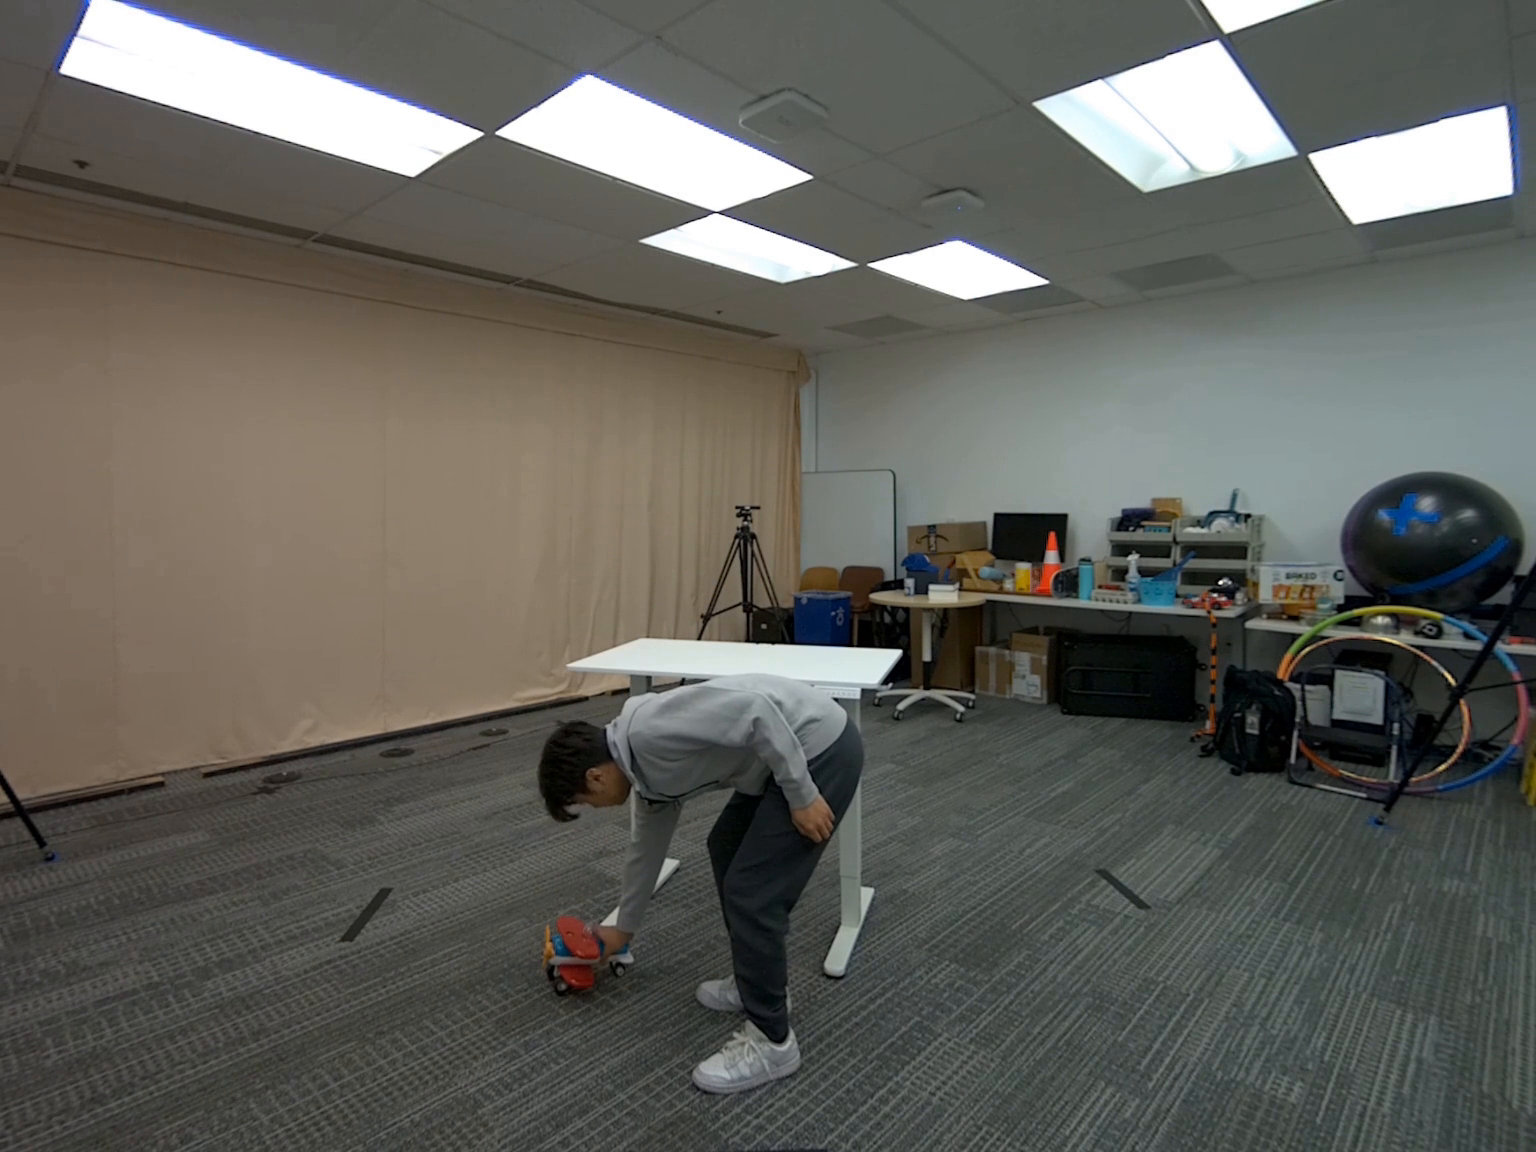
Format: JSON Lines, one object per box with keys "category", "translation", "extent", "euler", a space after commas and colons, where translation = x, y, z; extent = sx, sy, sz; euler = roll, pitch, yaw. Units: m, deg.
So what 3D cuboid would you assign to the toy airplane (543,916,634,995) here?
{"category": "toy airplane", "translation": [-0.550, 1.114, 2.490], "extent": [0.259, 0.156, 0.252], "euler": [2, 5, 36]}
